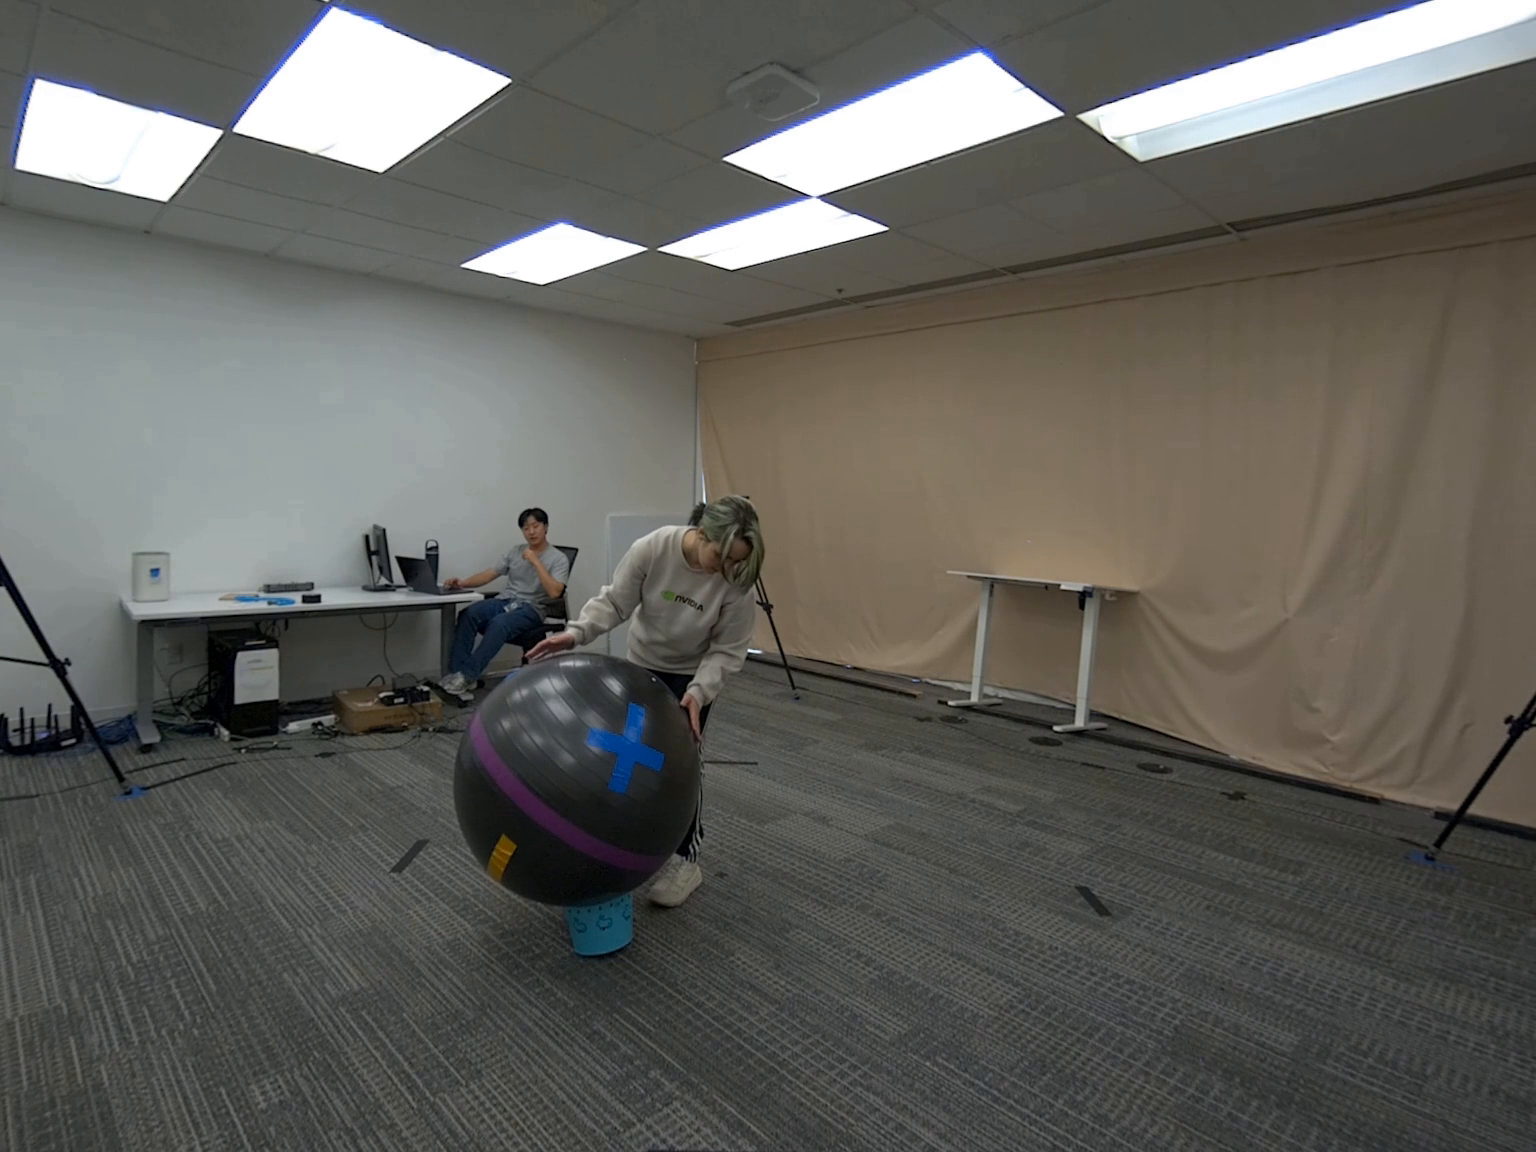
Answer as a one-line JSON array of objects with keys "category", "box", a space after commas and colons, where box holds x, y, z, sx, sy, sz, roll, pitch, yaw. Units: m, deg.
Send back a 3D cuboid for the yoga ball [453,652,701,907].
[{"category": "yoga ball", "box": [-0.594, 0.627, 2.614, 0.757, 0.756, 0.761, 1, 4, -1]}]
